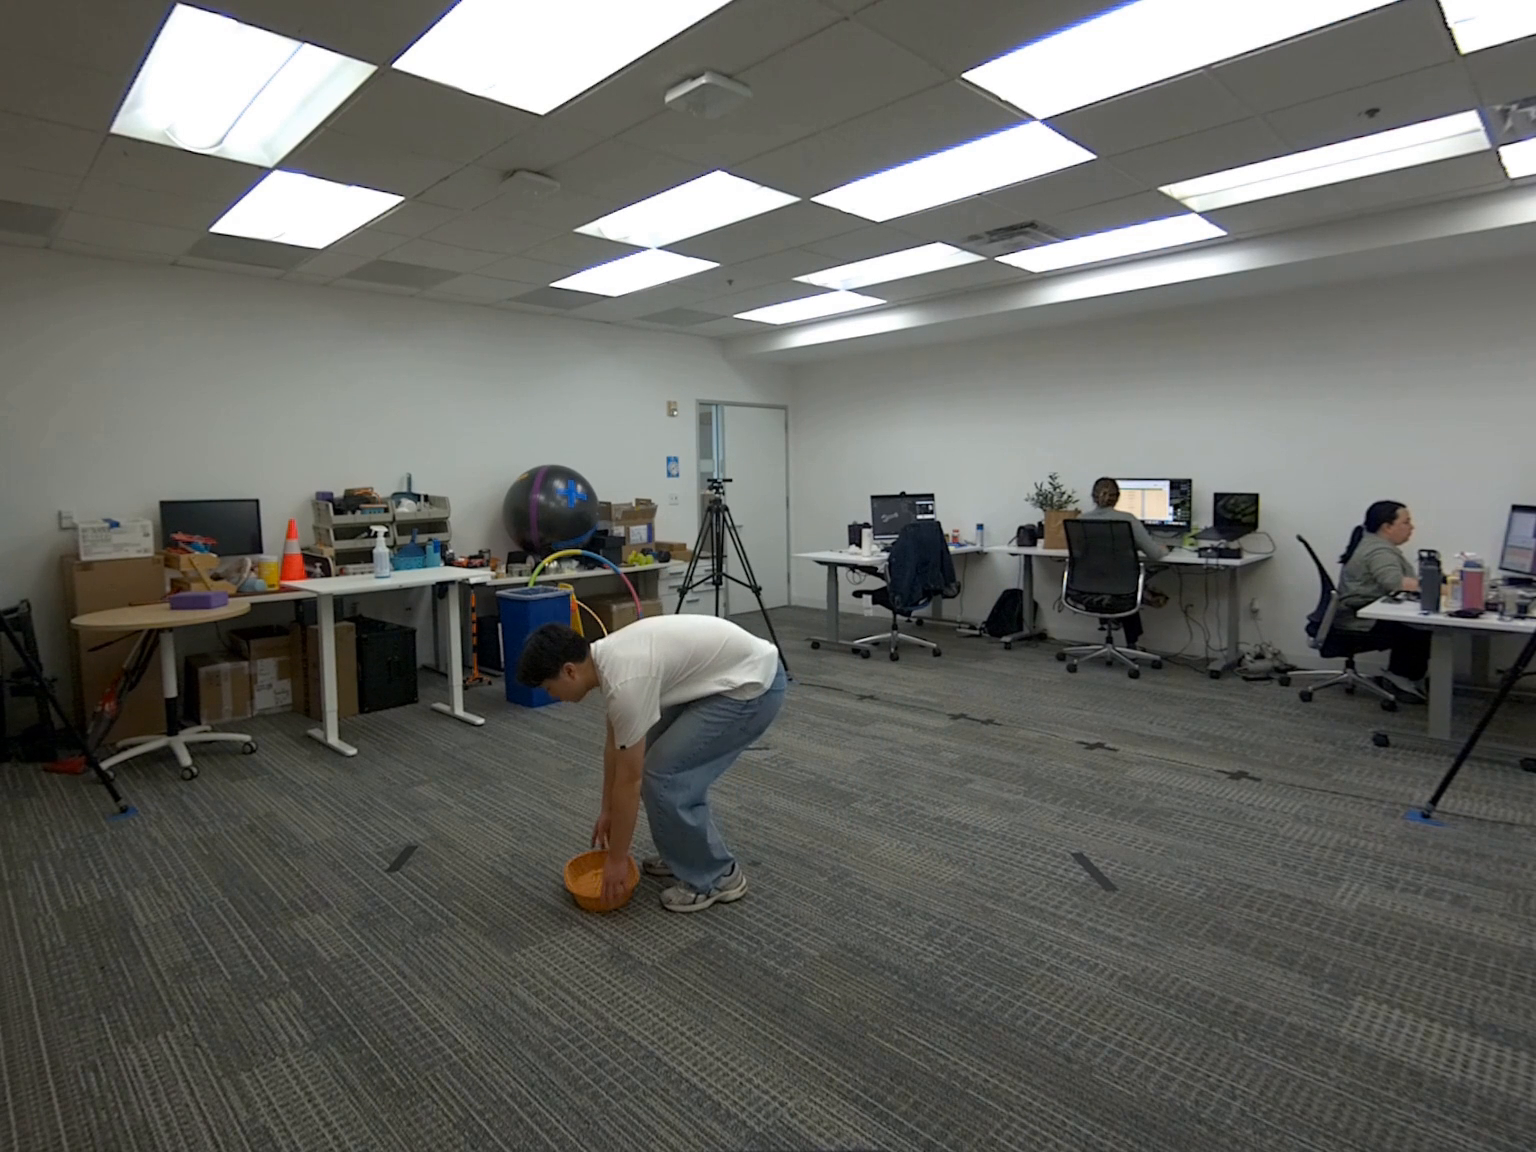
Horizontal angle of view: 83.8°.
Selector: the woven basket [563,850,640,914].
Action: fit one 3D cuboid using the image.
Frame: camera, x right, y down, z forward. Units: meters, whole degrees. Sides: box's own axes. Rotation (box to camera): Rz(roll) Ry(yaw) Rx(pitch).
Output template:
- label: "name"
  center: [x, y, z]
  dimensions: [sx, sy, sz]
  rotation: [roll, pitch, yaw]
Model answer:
- label: "woven basket"
  center: [-0.563, 1.029, 2.911]
  dimensions: [0.249, 0.073, 0.357]
  rotation: [-2, 7, -16]
